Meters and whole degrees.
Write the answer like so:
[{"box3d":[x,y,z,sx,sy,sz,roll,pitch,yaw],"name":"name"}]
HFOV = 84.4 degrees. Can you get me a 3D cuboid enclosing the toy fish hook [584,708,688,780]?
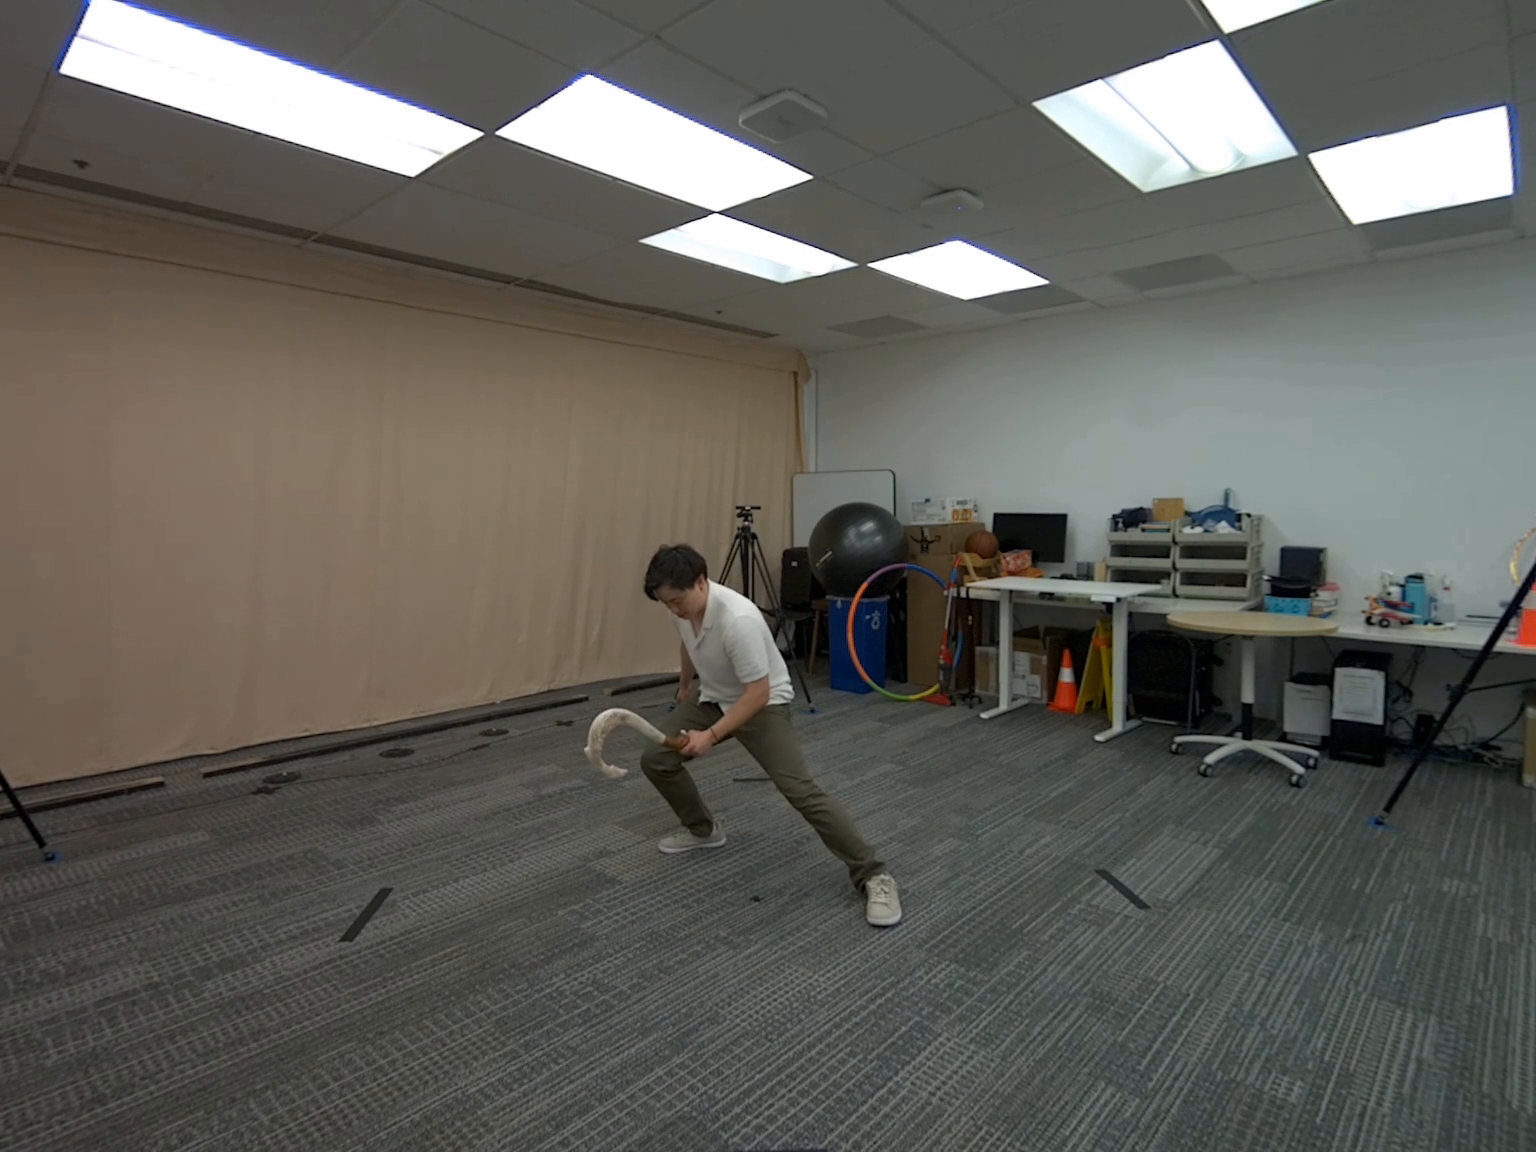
[{"box3d":[-0.414,0.600,2.883,0.488,0.225,0.050,25,-10,-39],"name":"toy fish hook"}]
